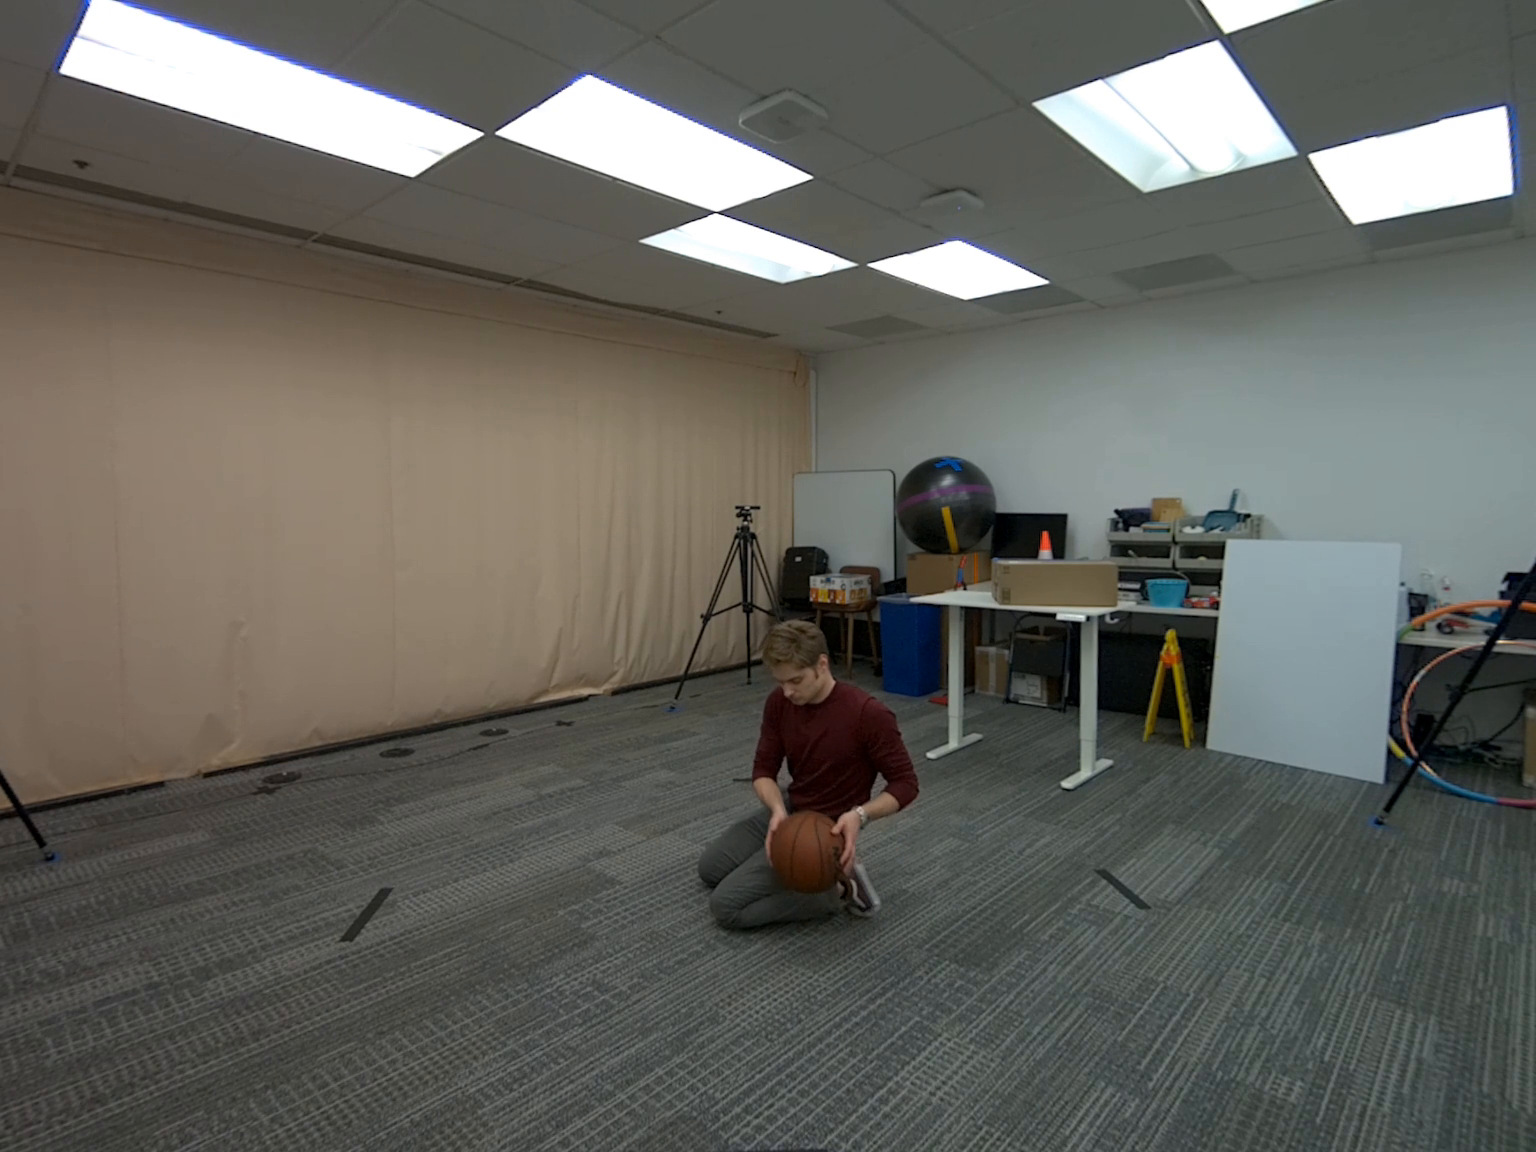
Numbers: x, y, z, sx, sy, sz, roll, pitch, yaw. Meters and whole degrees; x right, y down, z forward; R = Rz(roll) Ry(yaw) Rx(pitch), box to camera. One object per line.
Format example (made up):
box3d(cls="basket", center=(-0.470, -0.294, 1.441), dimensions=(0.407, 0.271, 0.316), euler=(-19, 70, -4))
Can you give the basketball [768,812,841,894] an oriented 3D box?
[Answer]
box3d(cls="basketball", center=(0.130, 0.839, 2.589), dimensions=(0.236, 0.235, 0.237), euler=(0, 4, -2))
